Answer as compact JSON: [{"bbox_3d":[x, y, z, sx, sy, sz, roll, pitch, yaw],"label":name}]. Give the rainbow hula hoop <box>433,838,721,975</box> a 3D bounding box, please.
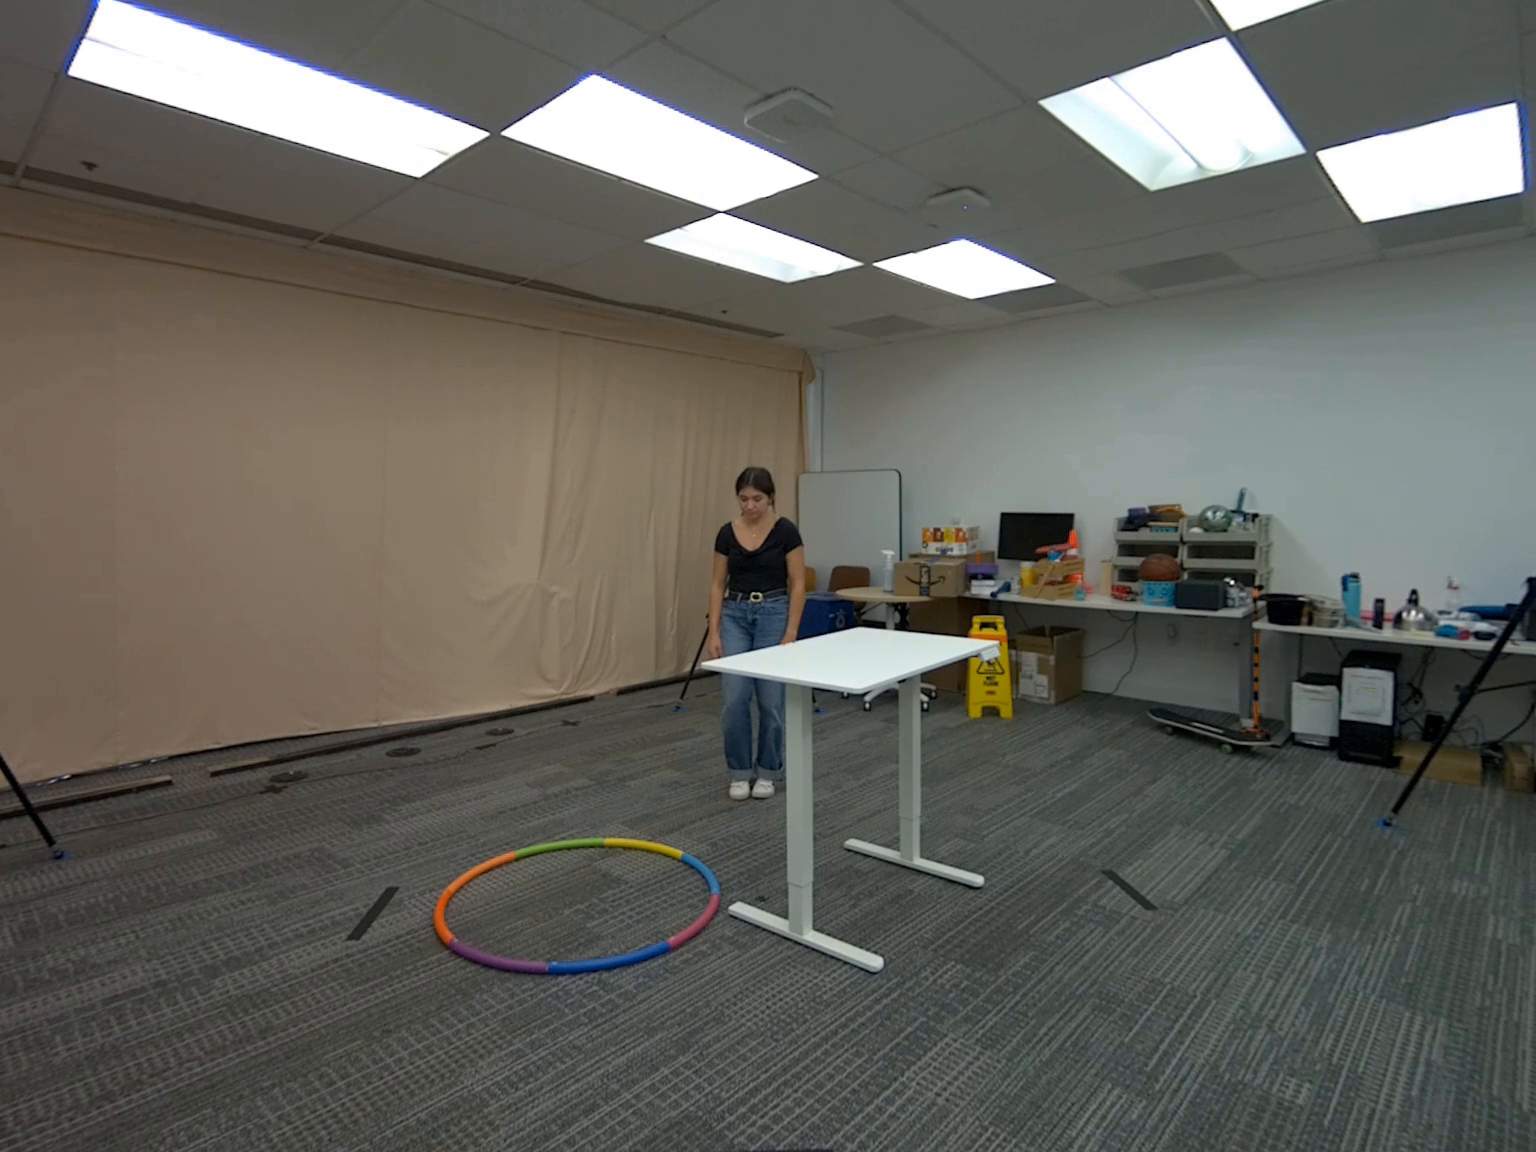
[{"bbox_3d":[-0.650,1.120,2.977,0.978,0.035,0.982,0,5,-2],"label":"rainbow hula hoop"}]
